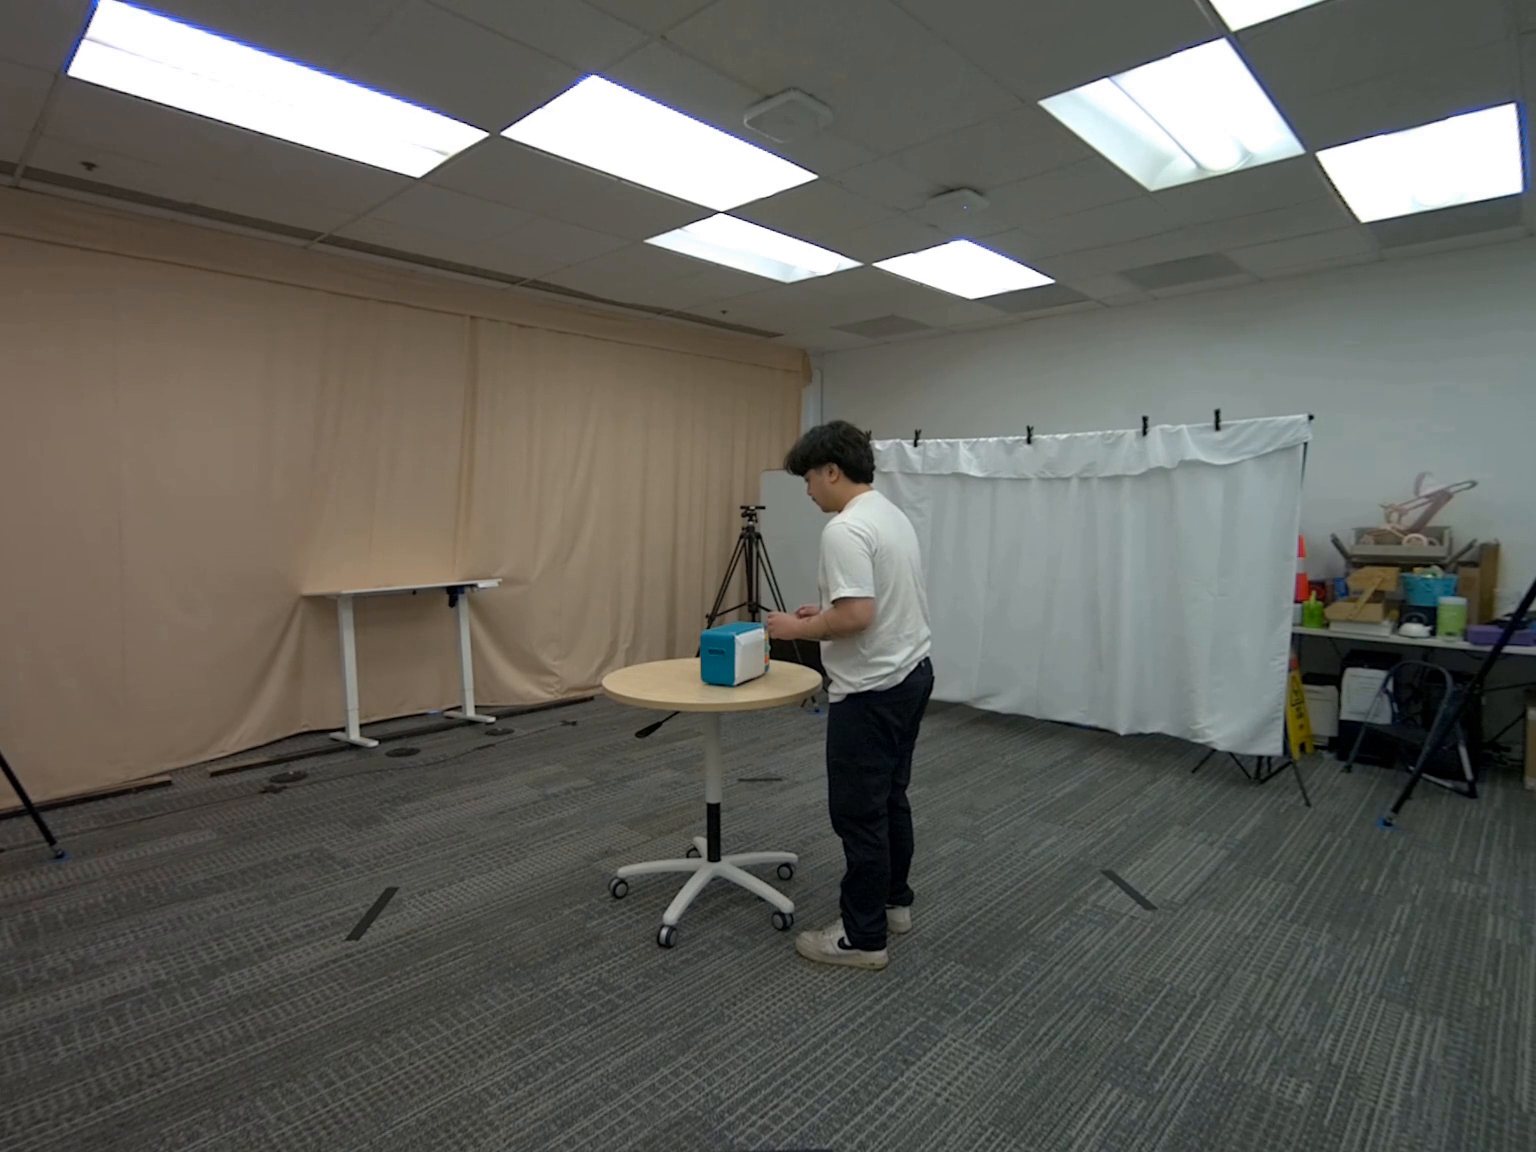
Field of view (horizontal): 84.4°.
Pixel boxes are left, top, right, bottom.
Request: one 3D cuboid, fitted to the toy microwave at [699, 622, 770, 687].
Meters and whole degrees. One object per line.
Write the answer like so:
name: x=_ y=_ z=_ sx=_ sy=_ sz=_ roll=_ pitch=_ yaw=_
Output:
toy microwave: x=-0.100 y=0.266 z=2.901 sx=0.156 sy=0.184 sz=0.279 roll=2 pitch=5 yaw=28
